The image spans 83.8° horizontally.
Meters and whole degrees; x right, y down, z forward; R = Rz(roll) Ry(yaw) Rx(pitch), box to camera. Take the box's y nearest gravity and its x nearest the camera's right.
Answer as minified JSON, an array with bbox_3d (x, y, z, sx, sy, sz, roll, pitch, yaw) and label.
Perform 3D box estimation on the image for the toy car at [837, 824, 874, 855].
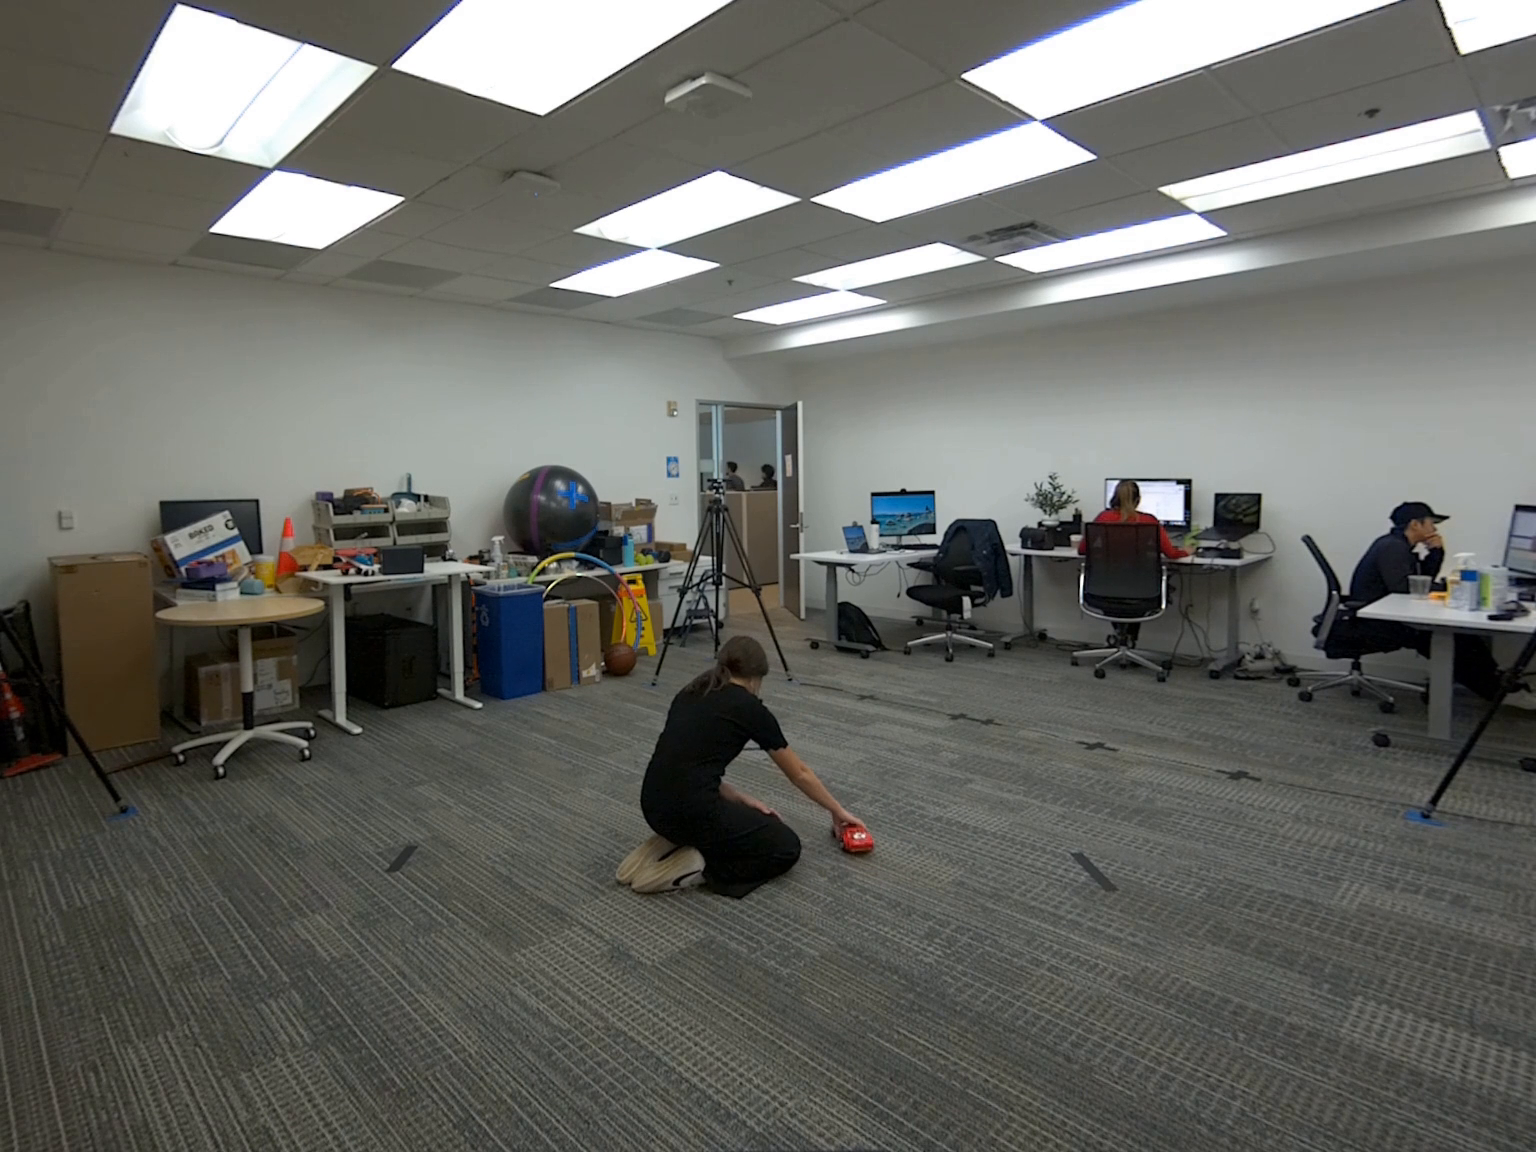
[{"bbox_3d":[0.324,0.993,3.247,0.129,0.084,0.255,-2,-4,-10],"label":"toy car"}]
